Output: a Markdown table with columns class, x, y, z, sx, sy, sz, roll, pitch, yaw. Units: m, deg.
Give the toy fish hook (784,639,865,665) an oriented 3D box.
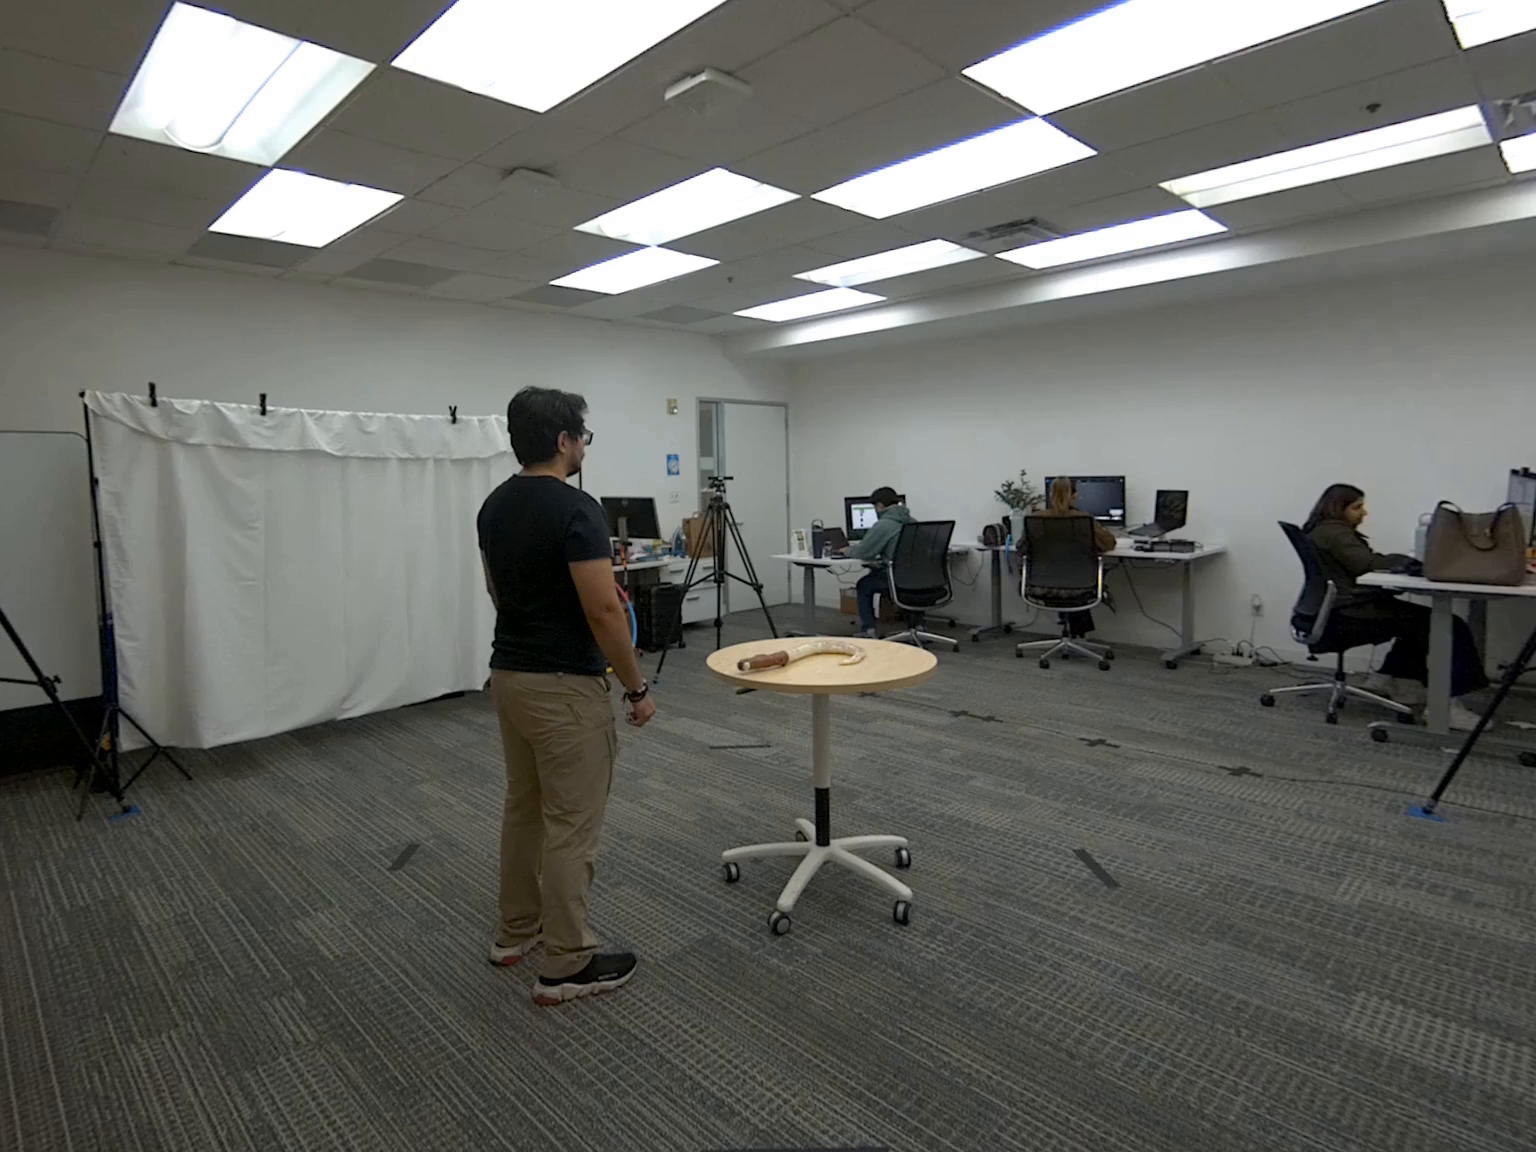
| class | x | y | z | sx | sy | sz | roll | pitch | yaw |
| --- | --- | --- | --- | --- | --- | --- | --- | --- | --- |
| toy fish hook | 0.126 | 0.268 | 2.777 | 0.493 | 0.048 | 0.232 | -7 | 10 | -44 |
